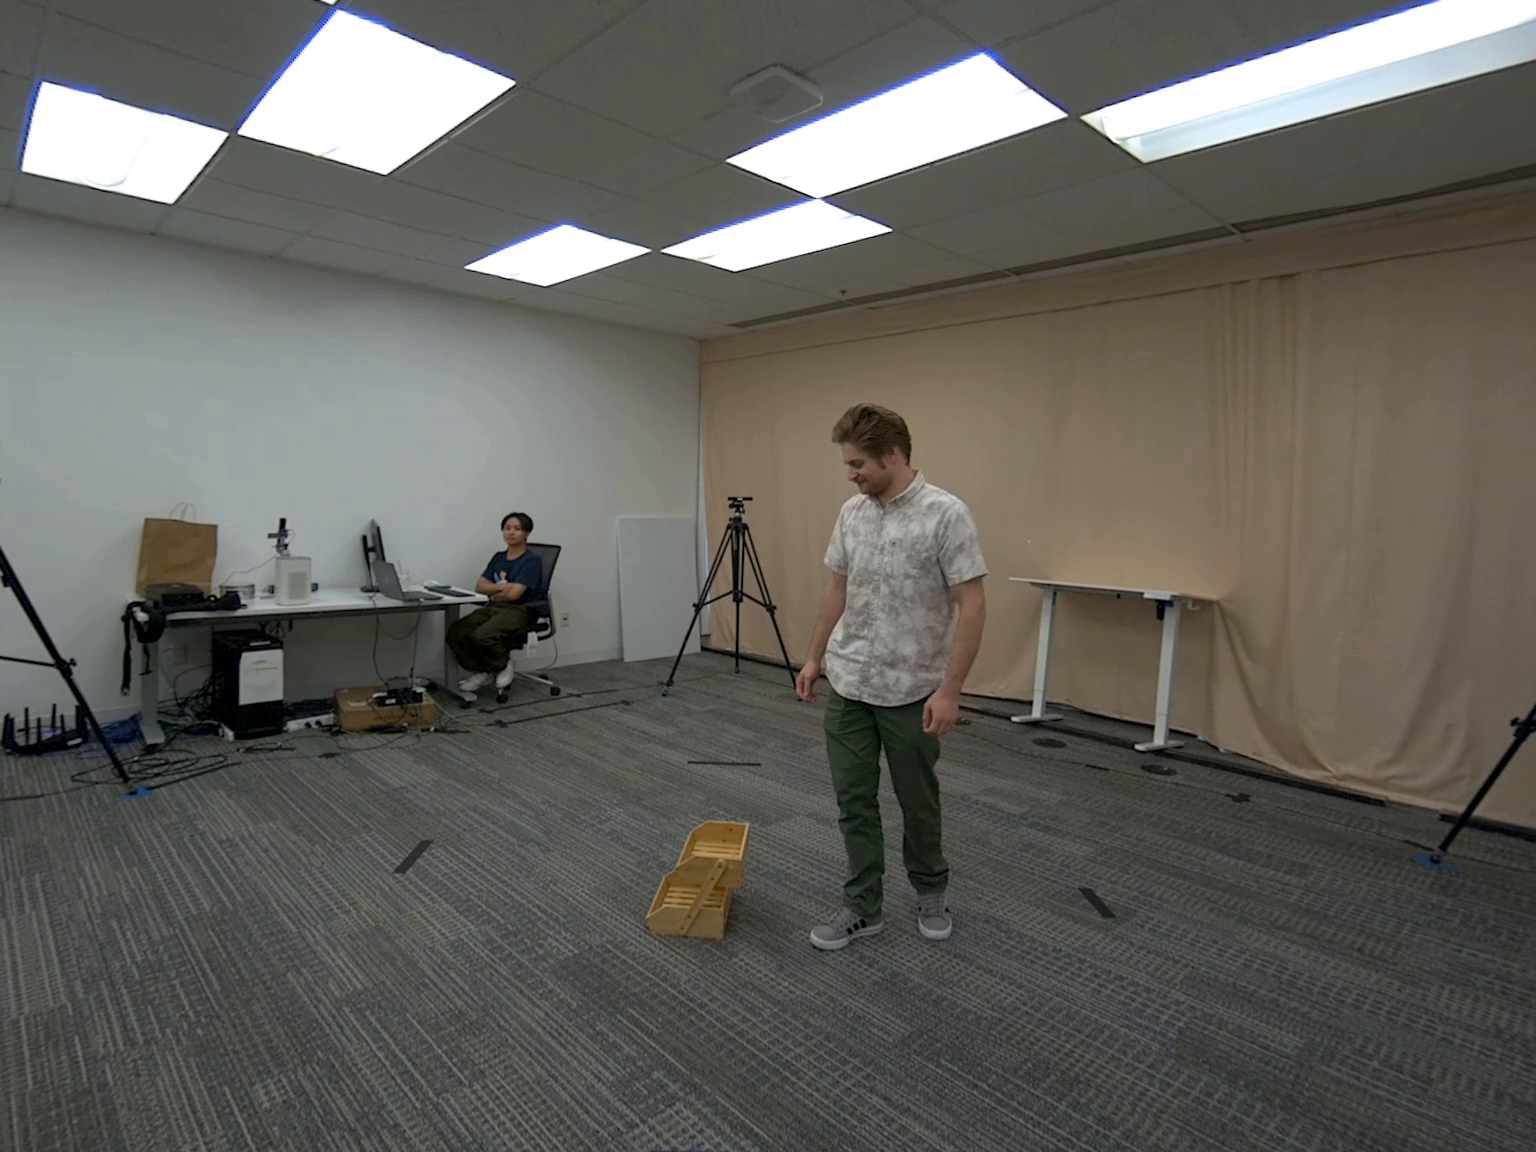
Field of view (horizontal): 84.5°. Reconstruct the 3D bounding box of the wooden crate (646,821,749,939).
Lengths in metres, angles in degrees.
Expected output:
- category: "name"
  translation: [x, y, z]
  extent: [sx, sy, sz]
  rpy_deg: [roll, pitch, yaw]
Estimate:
- category: "wooden crate"
  translation: [-0.237, 1.000, 2.808]
  extent: [0.303, 0.272, 0.324]
  rpy_deg: [2, 4, 4]
